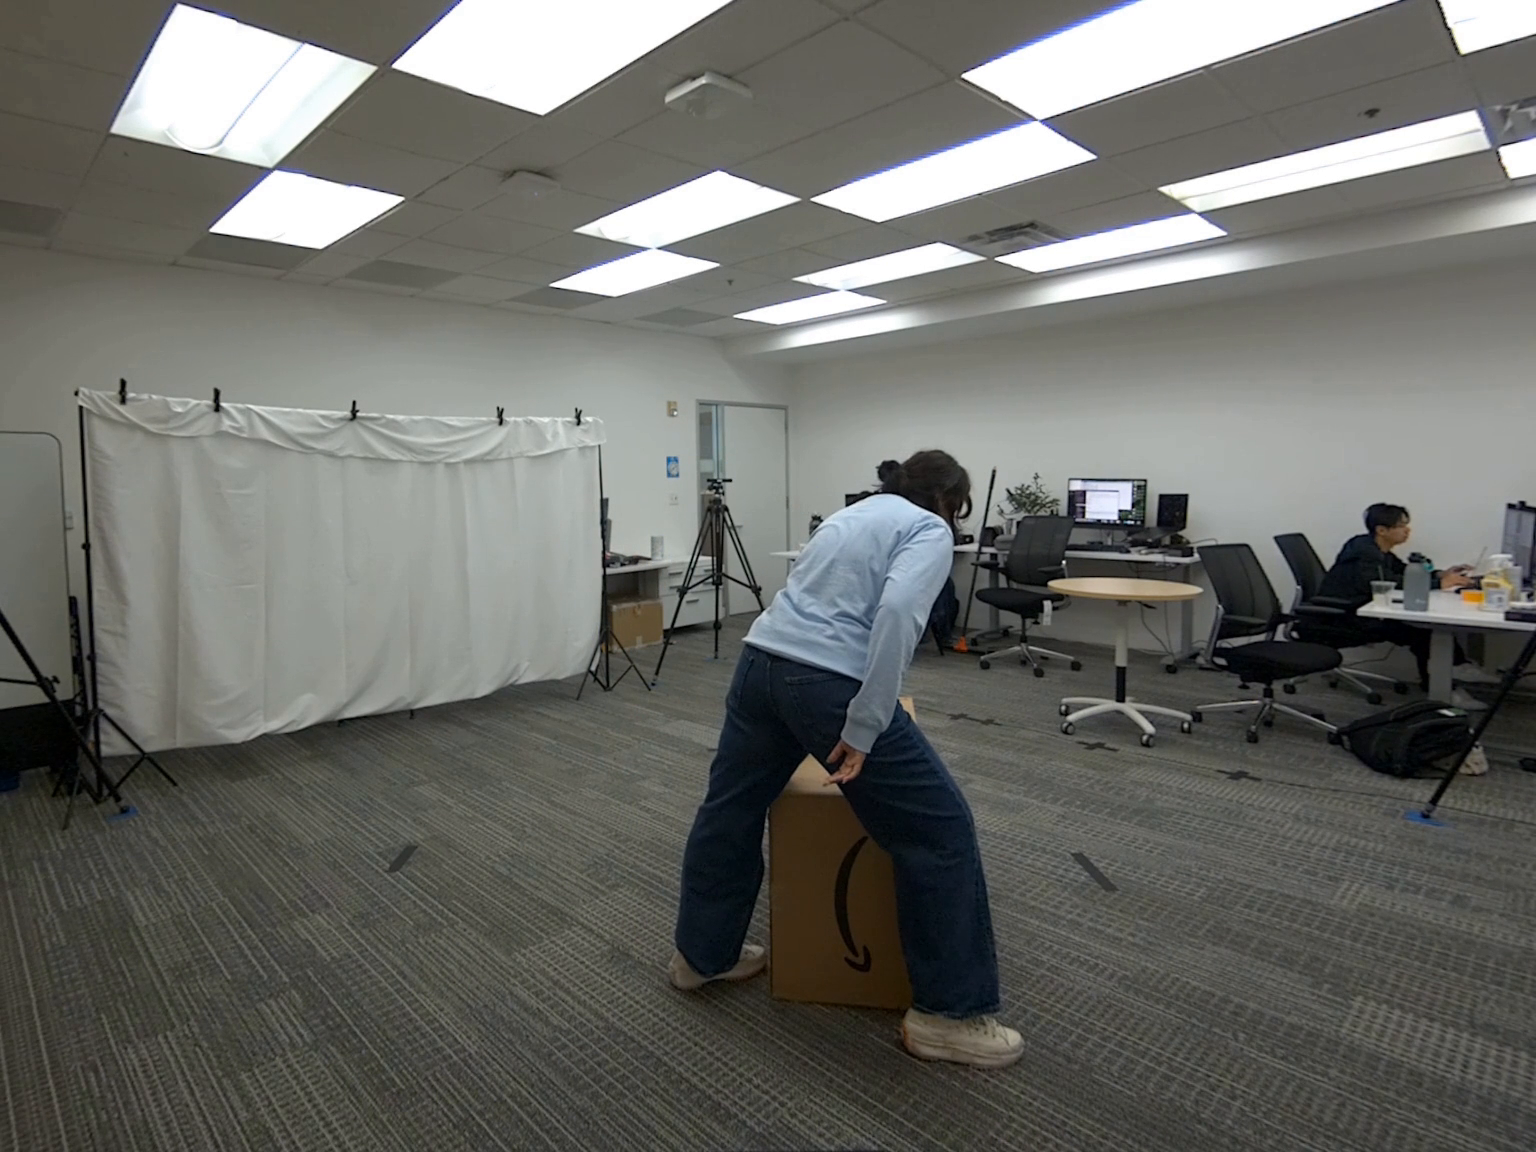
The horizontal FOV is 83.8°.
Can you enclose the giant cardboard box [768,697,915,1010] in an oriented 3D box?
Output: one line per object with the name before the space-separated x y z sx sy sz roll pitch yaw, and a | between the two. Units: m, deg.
giant cardboard box | 0.282 0.790 2.741 0.430 0.575 1.023 0 6 7
